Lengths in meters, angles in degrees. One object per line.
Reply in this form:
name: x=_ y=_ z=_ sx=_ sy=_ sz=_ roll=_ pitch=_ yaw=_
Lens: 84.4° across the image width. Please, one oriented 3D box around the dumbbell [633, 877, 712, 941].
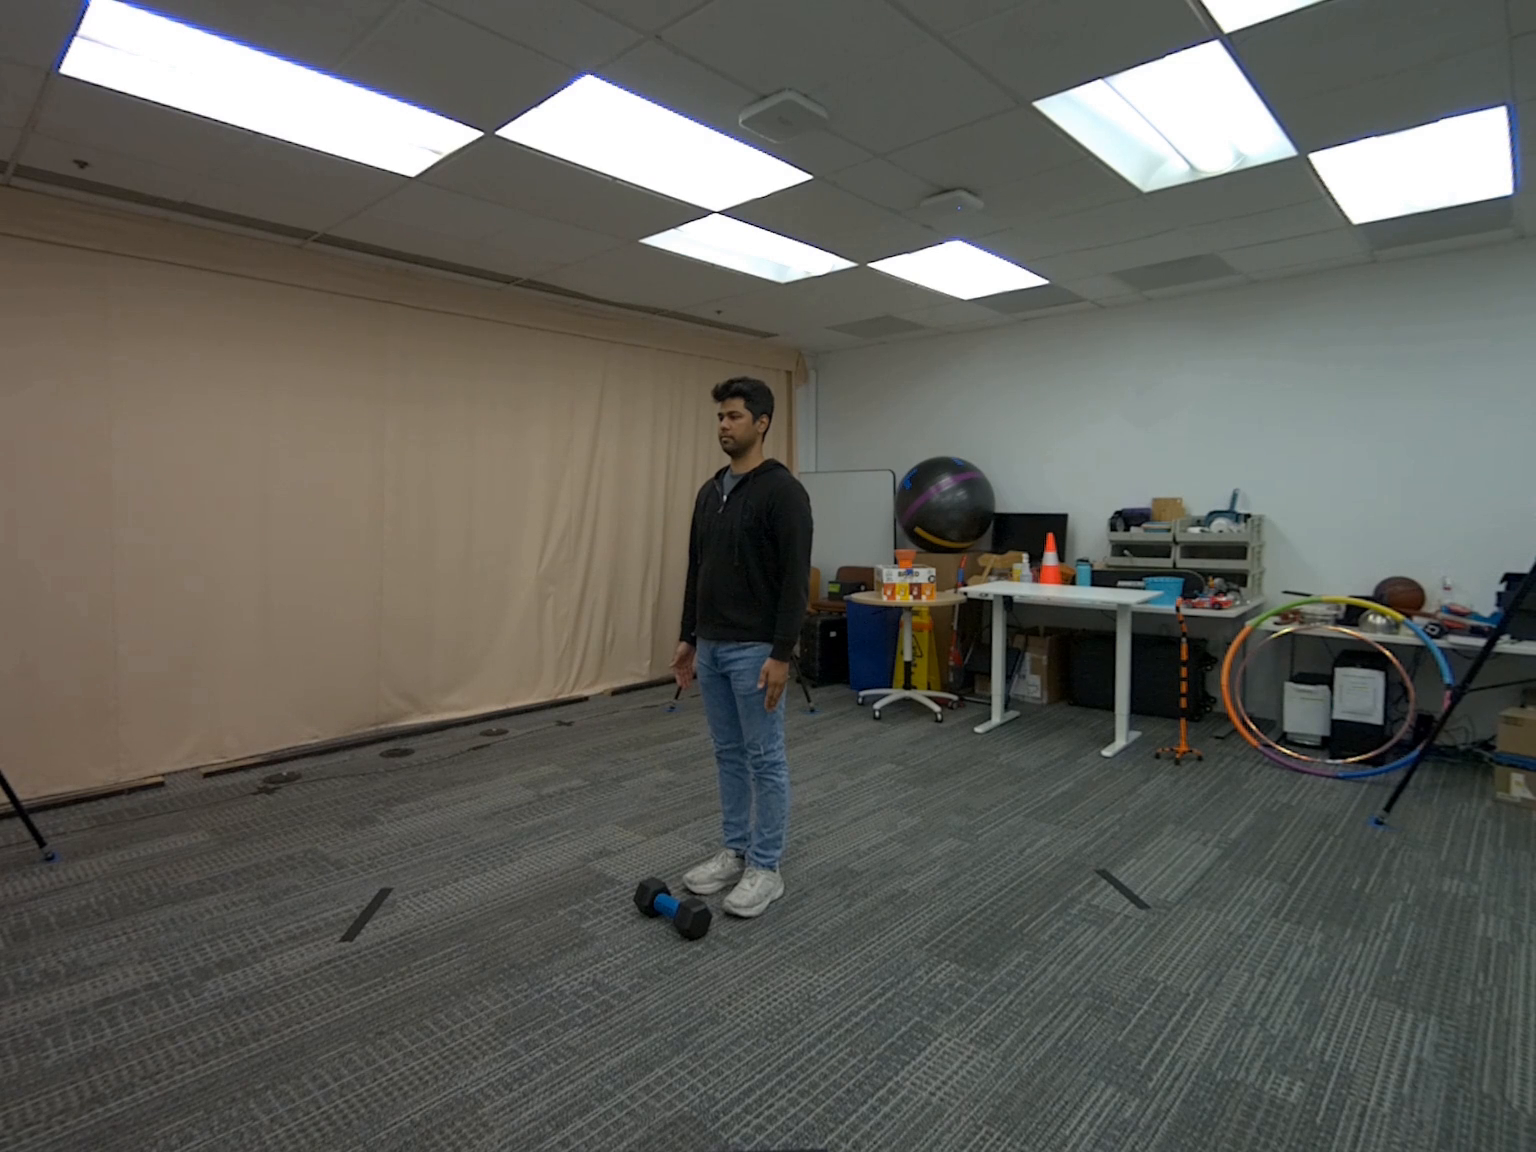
dumbbell: x=-0.319 y=1.108 z=2.801 sx=0.303 sy=0.120 sz=0.107 roll=4 pitch=36 yaw=45
